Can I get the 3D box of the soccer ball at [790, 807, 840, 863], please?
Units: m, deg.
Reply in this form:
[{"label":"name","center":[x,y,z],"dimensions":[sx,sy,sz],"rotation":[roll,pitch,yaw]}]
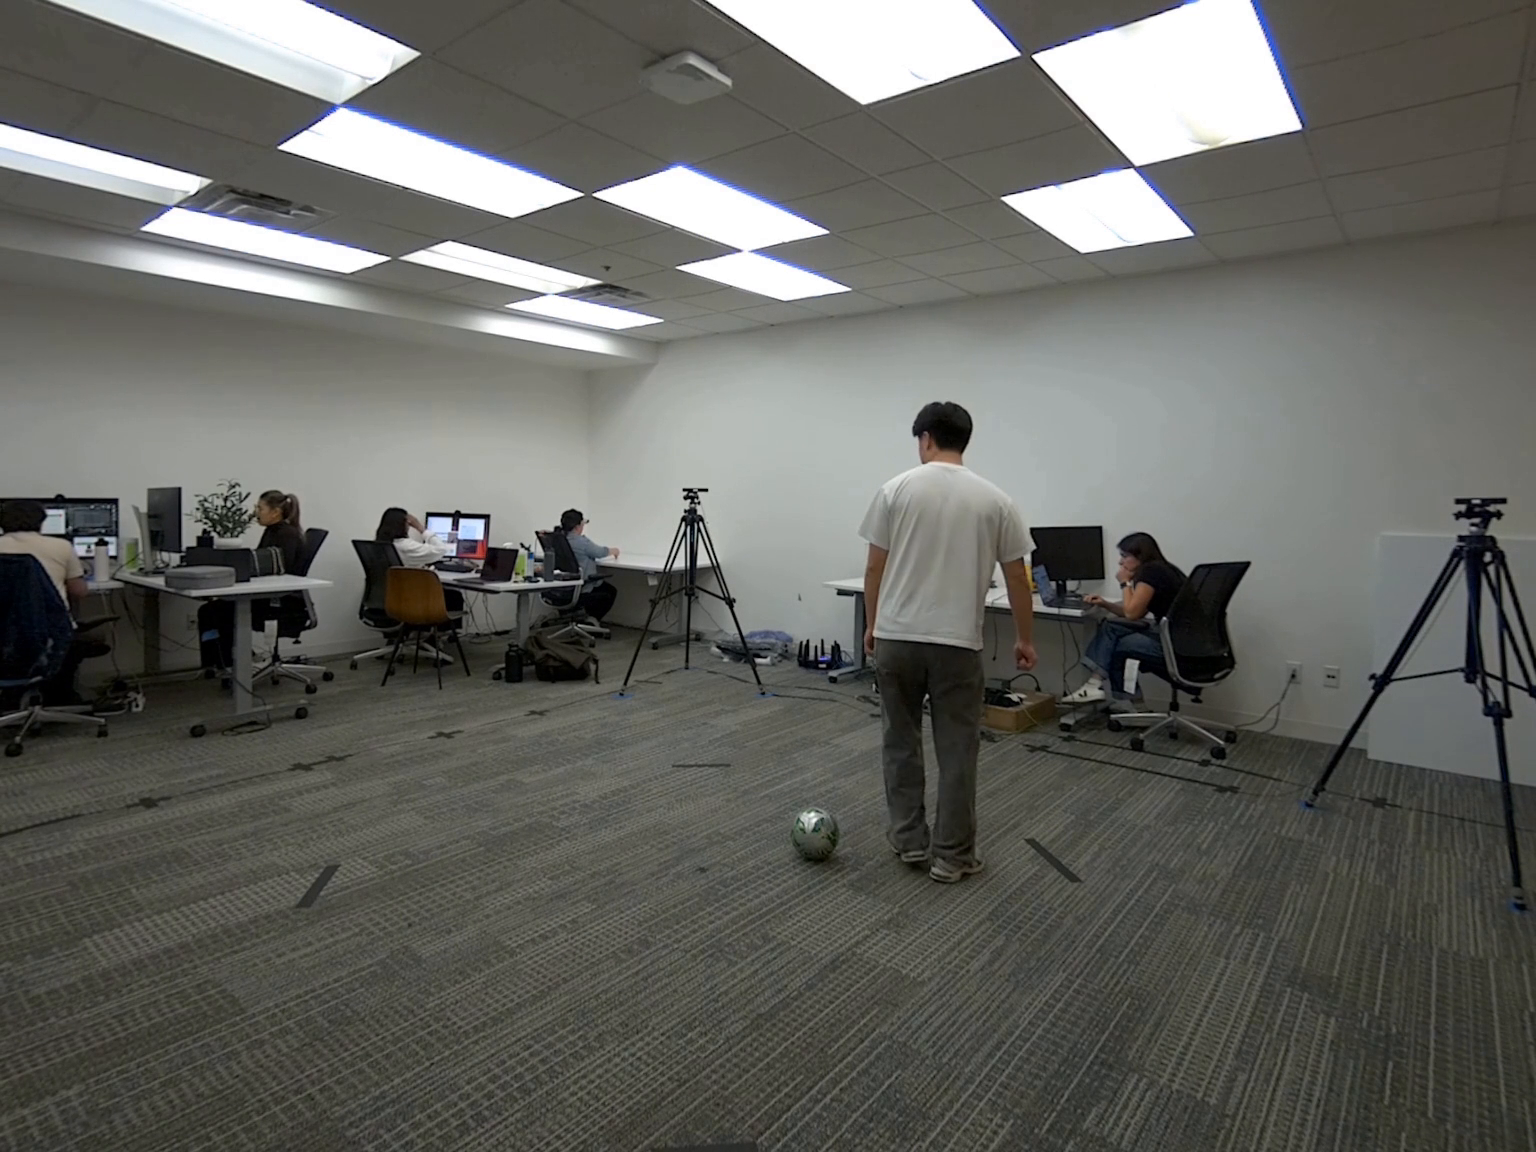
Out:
[{"label":"soccer ball","center":[0.180,0.967,3.239],"dimensions":[0.187,0.187,0.188],"rotation":[1,4,-2]}]
